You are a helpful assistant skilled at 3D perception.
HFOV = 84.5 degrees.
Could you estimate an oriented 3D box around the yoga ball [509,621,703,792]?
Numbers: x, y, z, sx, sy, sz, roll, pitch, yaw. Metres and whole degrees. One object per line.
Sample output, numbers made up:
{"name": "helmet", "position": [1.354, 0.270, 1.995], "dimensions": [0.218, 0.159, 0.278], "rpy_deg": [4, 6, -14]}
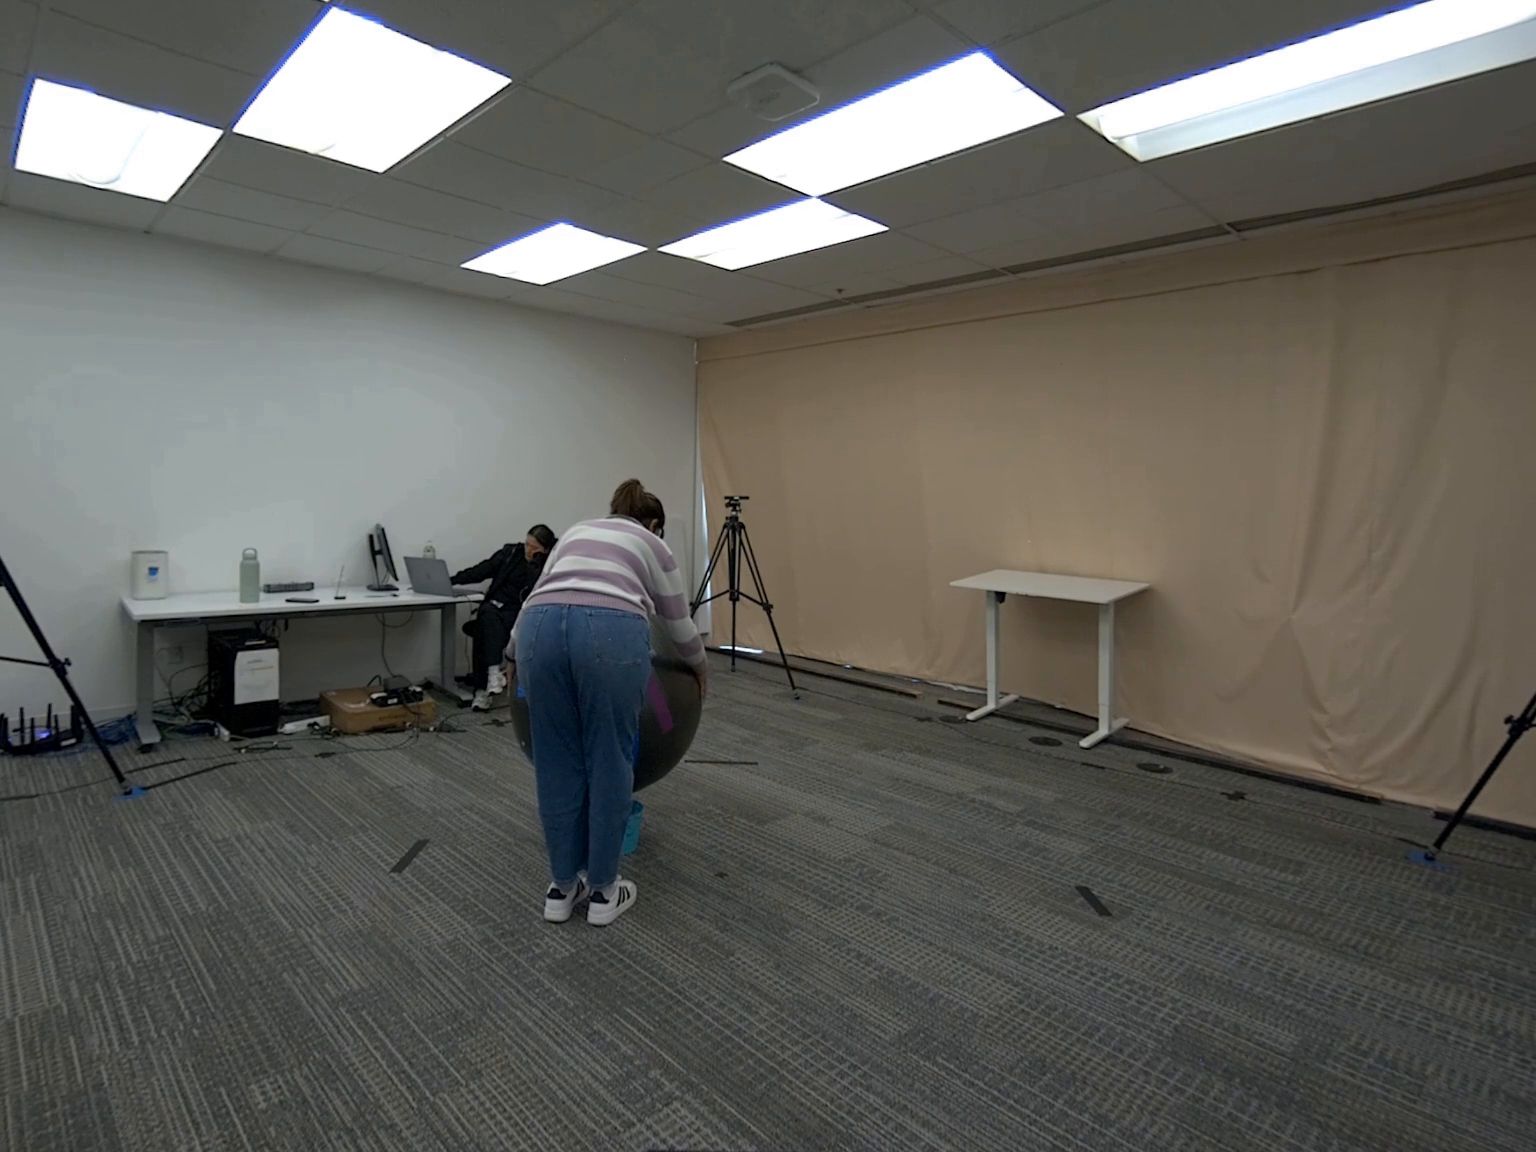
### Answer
{"name": "yoga ball", "position": [-0.643, 0.487, 3.344], "dimensions": [0.757, 0.756, 0.761], "rpy_deg": [1, 4, -1]}
